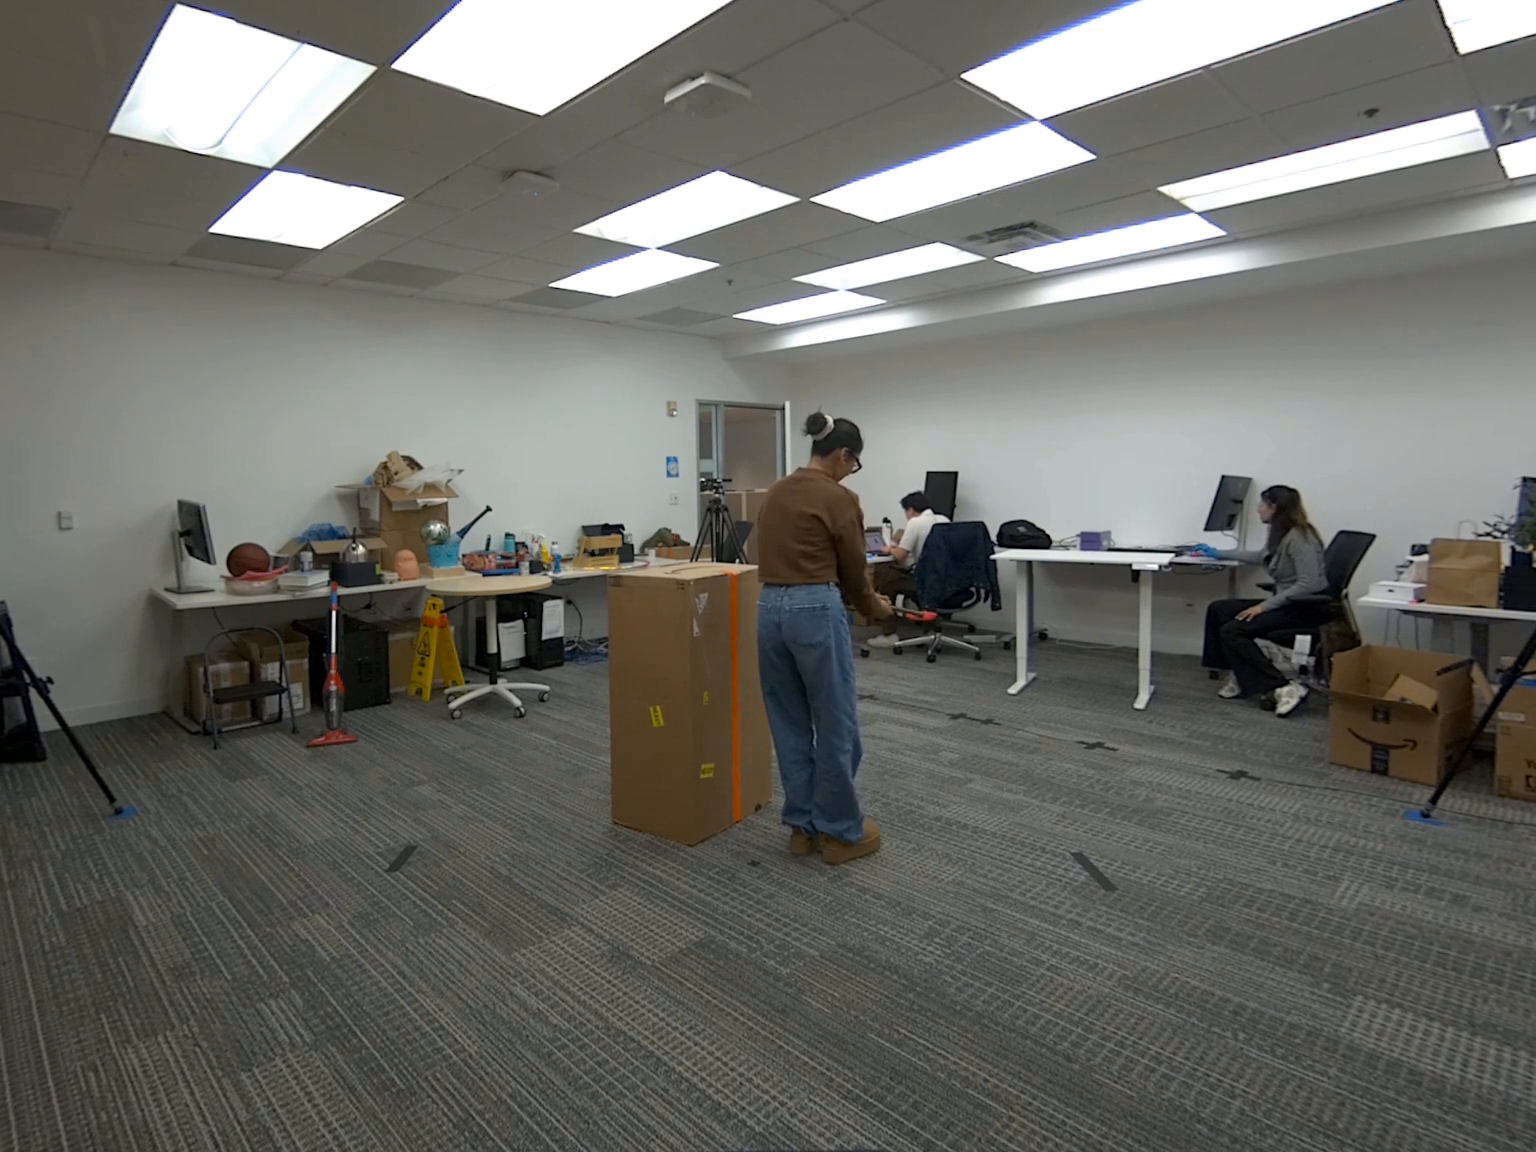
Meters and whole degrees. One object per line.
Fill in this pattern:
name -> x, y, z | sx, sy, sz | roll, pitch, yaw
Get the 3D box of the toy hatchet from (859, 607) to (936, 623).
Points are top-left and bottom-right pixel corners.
toy hatchet -> 0.514, 0.151, 3.432 | 0.267, 0.030, 0.131 | 7, -9, -9
